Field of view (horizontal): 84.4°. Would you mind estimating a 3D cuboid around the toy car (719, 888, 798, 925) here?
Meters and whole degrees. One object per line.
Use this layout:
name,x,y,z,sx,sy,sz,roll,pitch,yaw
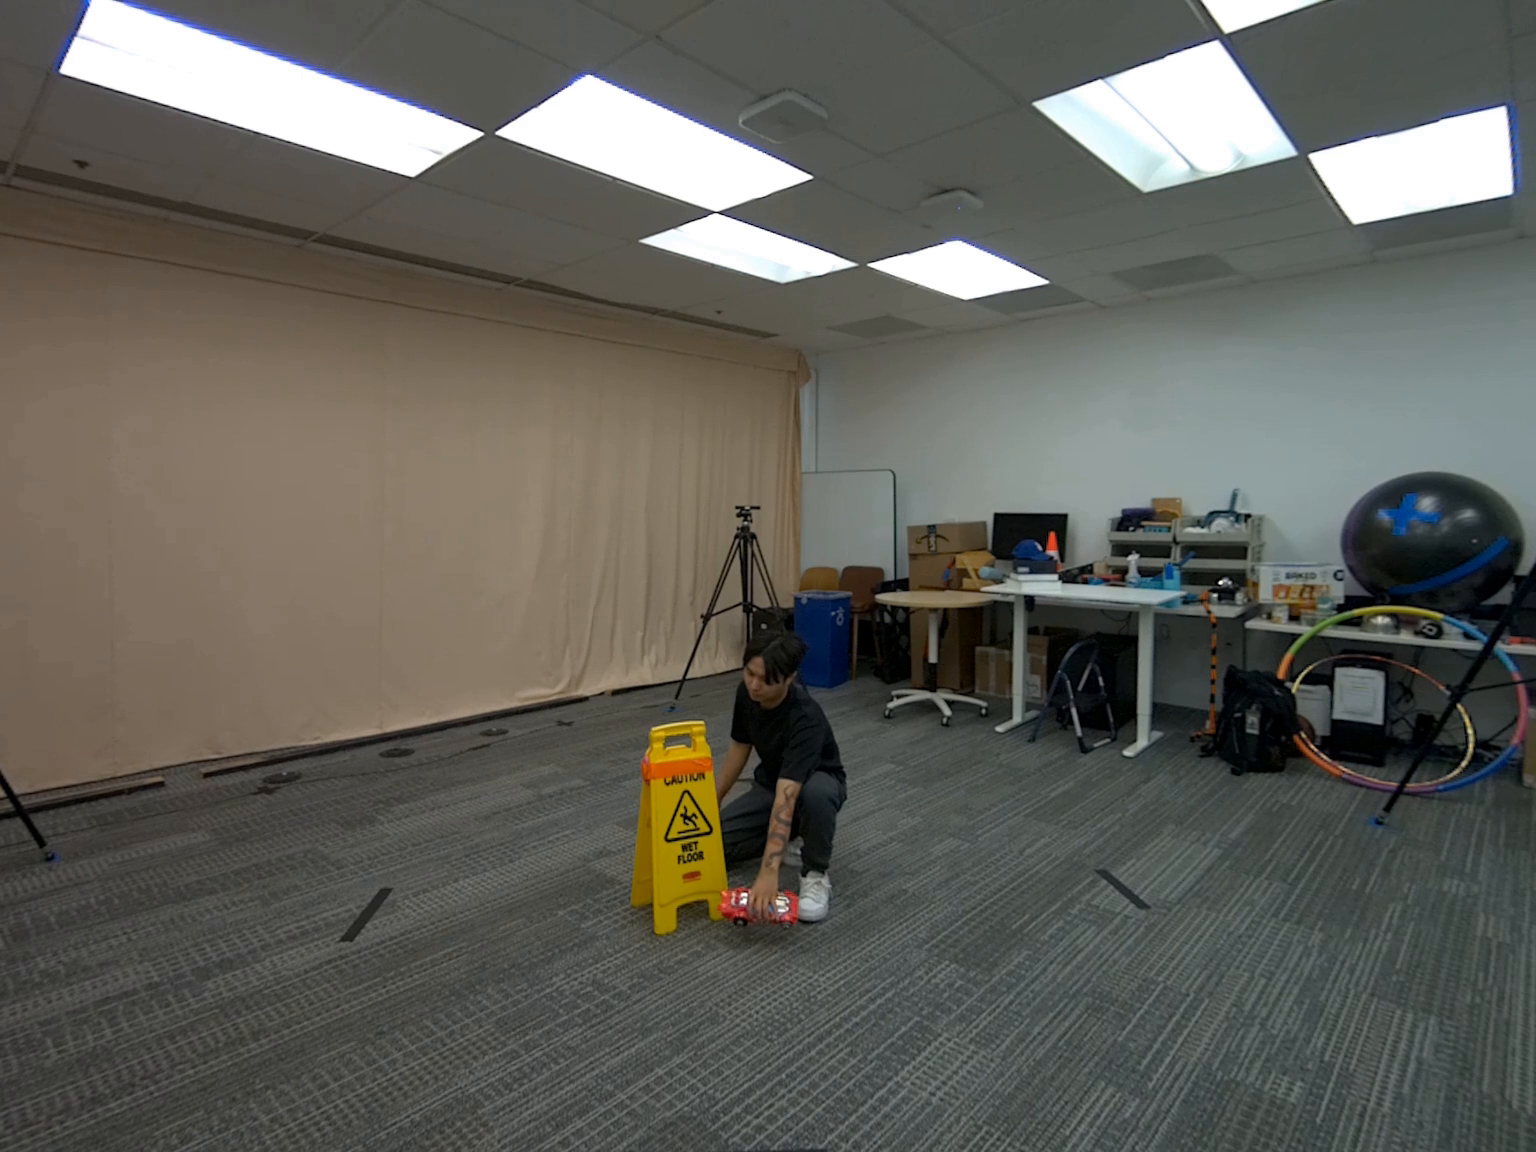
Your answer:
toy car,-0.047,1.042,2.697,0.256,0.082,0.131,7,34,4
